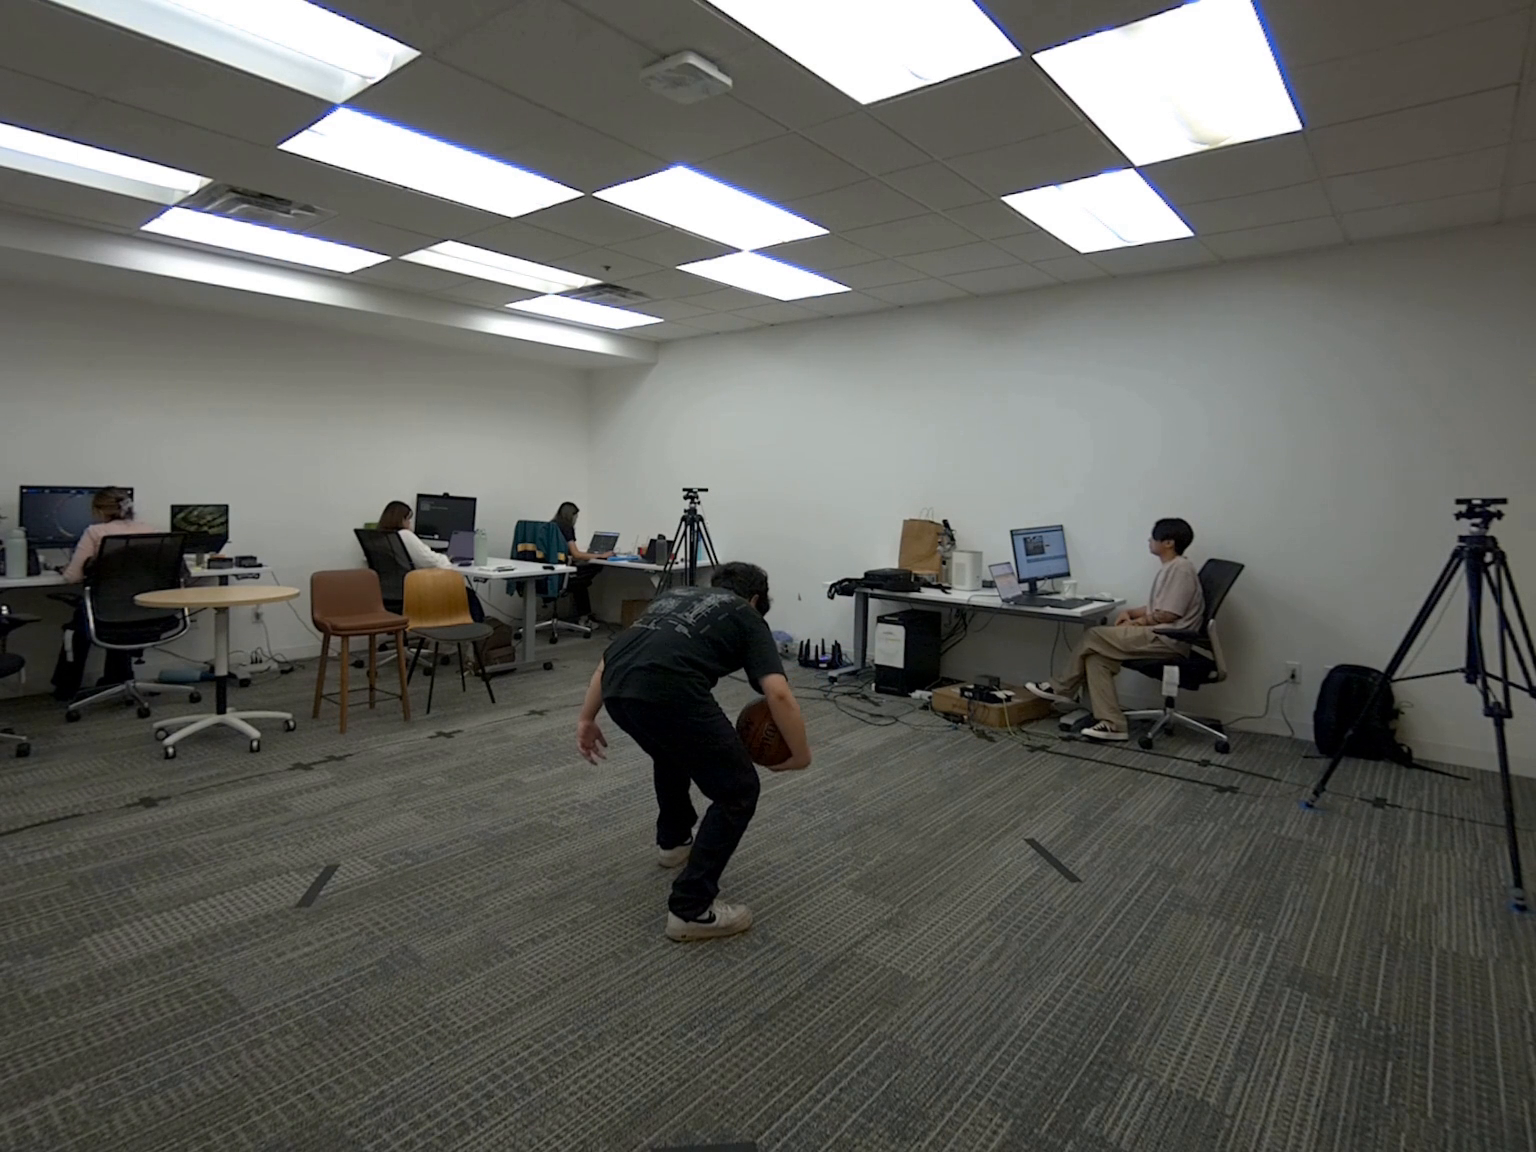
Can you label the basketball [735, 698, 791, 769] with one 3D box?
[{"bbox_3d":[-0.012,0.535,2.964,0.235,0.235,0.237,1,4,-2],"label":"basketball"}]
